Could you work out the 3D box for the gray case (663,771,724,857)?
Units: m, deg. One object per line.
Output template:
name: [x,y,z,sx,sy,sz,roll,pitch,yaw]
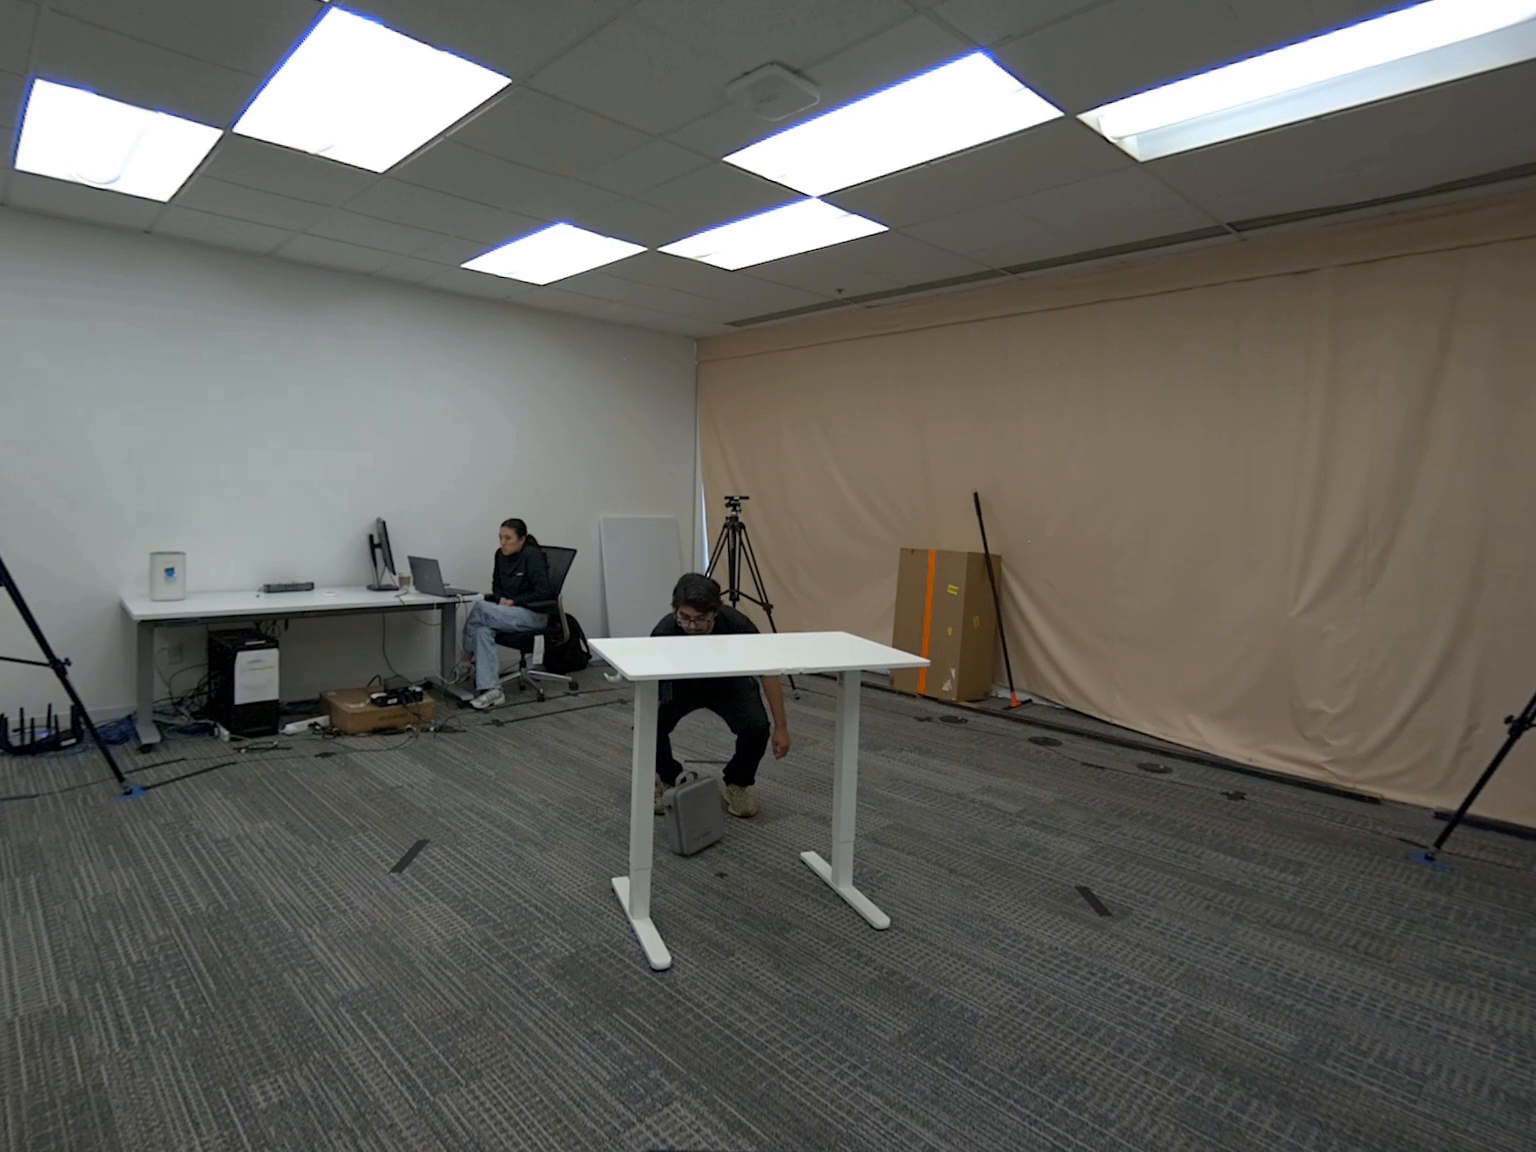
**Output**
gray case: [-0.302,0.949,3.351,0.106,0.261,0.251,-10,-4,36]
